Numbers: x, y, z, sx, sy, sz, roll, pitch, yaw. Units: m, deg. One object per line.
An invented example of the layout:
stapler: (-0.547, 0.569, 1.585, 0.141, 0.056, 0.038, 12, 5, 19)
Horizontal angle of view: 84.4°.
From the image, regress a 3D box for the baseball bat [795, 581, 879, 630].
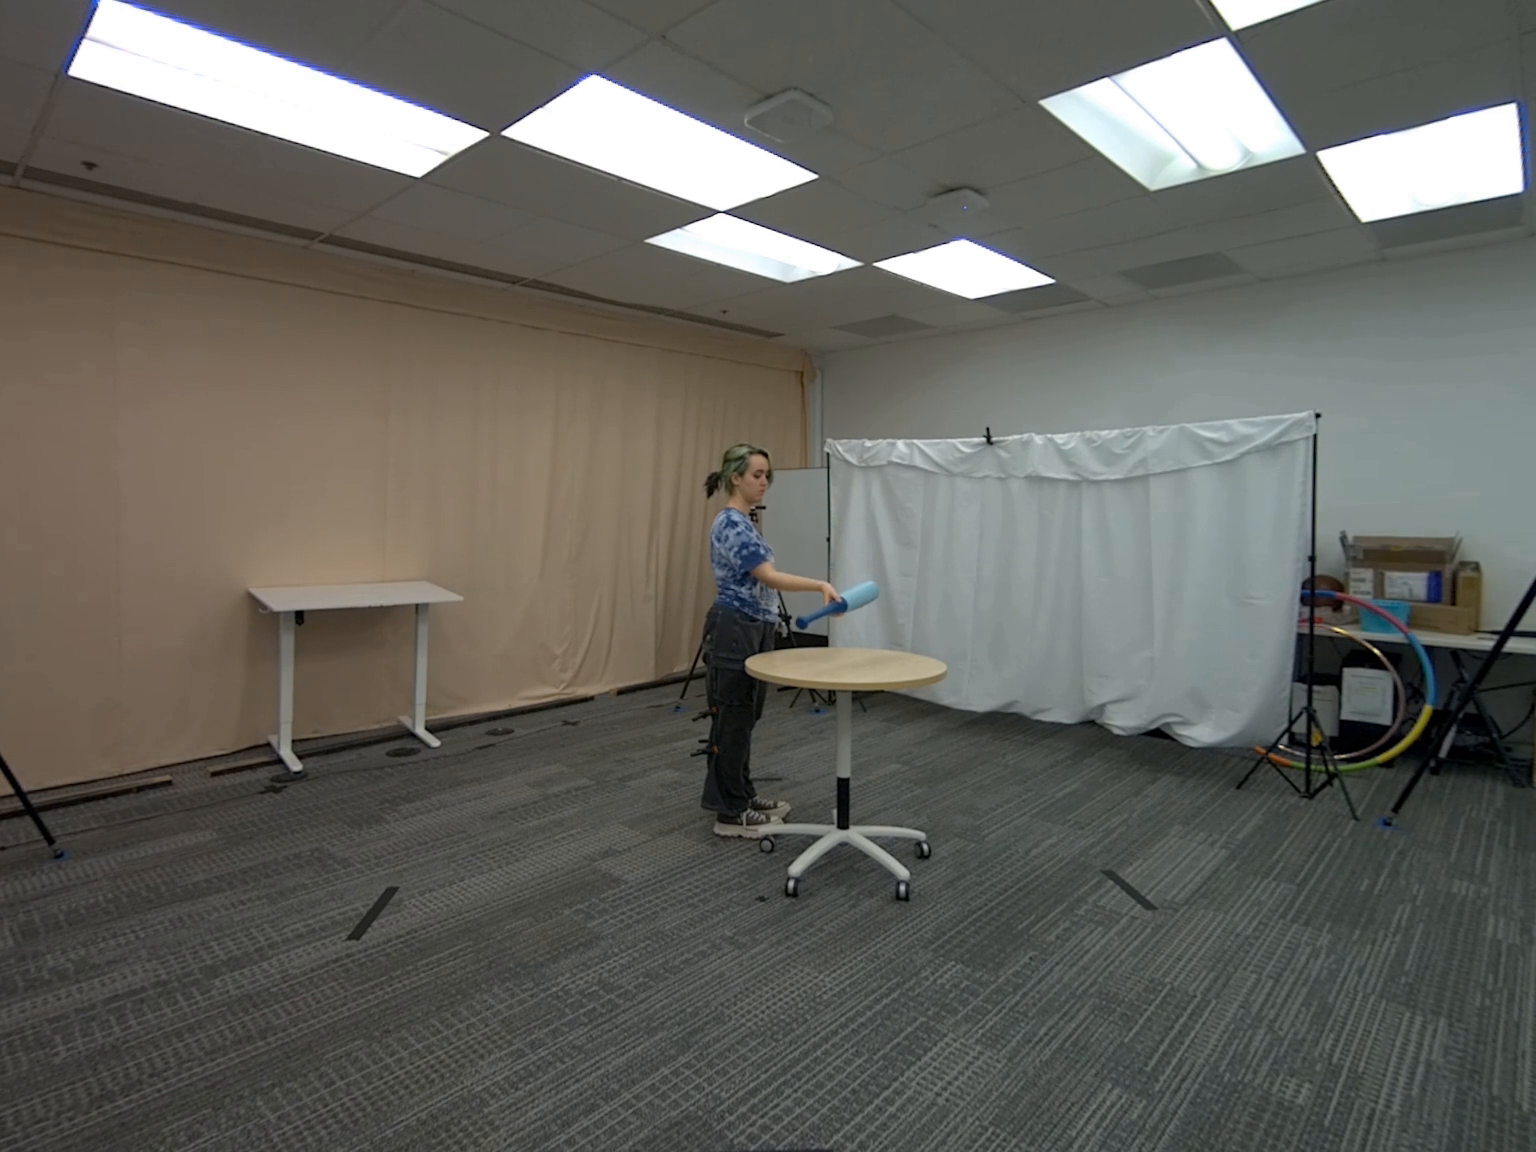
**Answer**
baseball bat: (0.282, 0.115, 3.217, 0.092, 0.088, 0.530, 3, 14, 37)
